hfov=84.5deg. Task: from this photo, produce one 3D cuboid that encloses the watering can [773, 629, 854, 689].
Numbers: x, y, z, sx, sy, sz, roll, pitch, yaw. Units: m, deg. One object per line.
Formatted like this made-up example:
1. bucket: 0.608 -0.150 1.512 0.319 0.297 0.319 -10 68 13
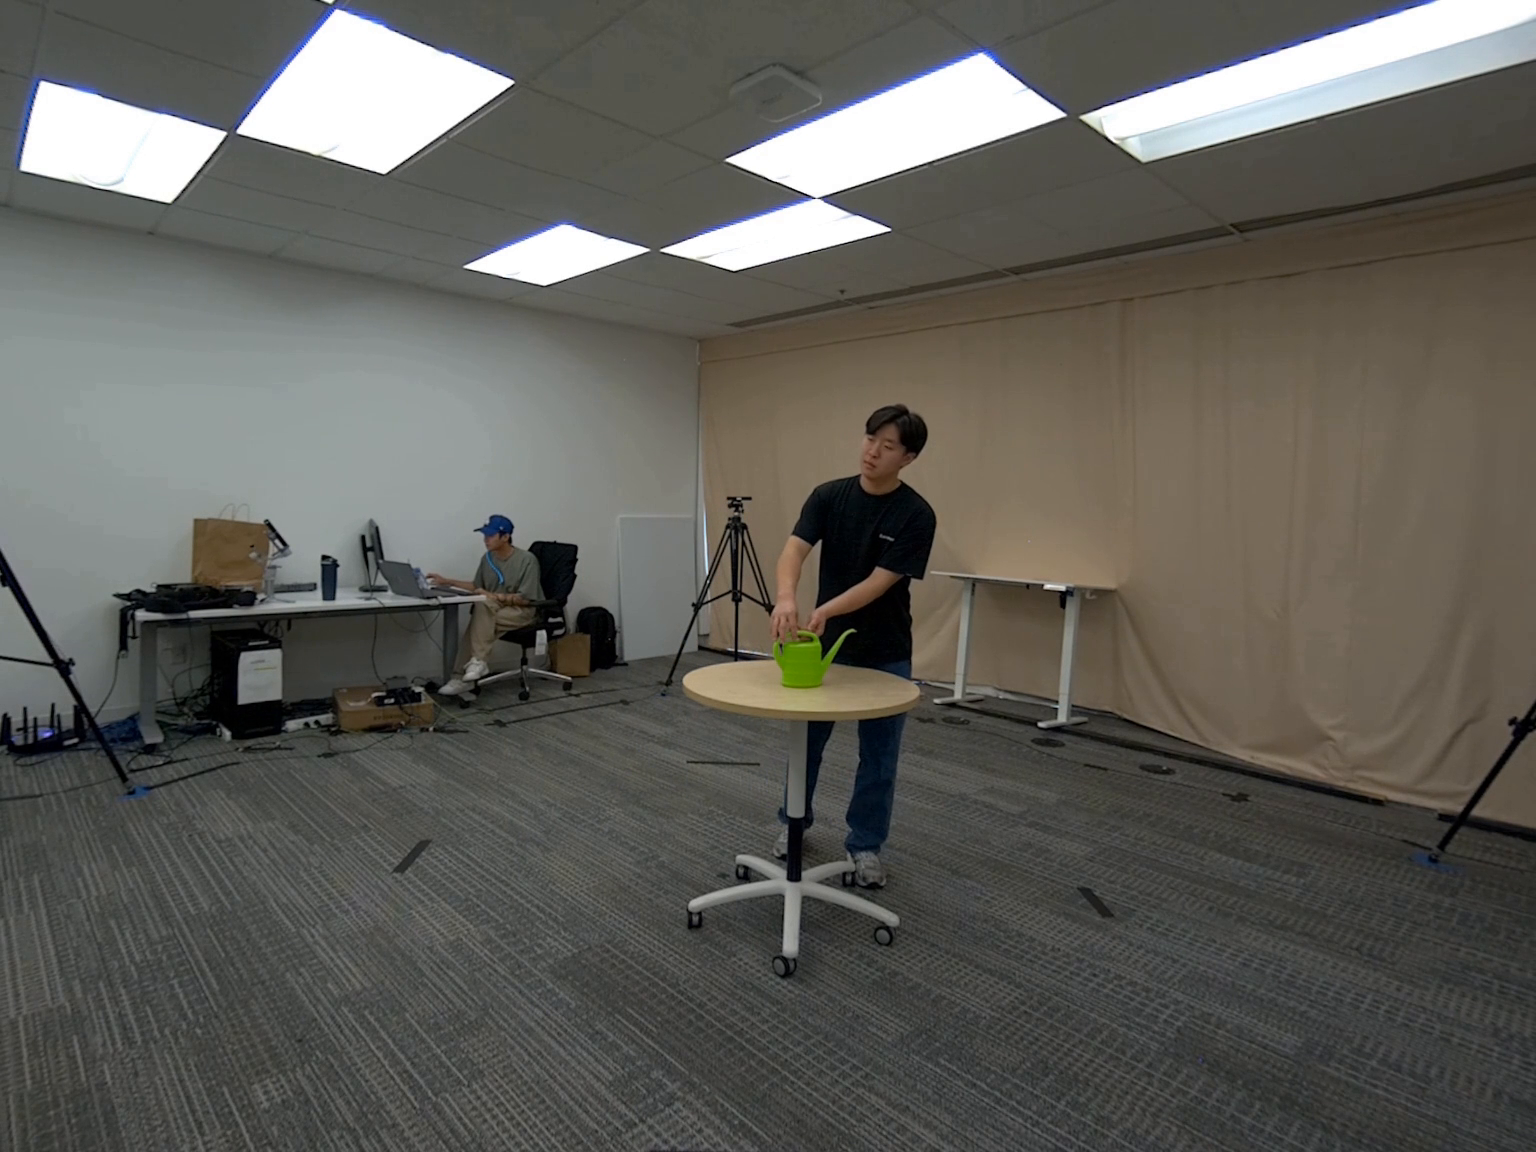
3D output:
1. watering can: 0.149 0.270 2.699 0.279 0.176 0.098 2 2 3
